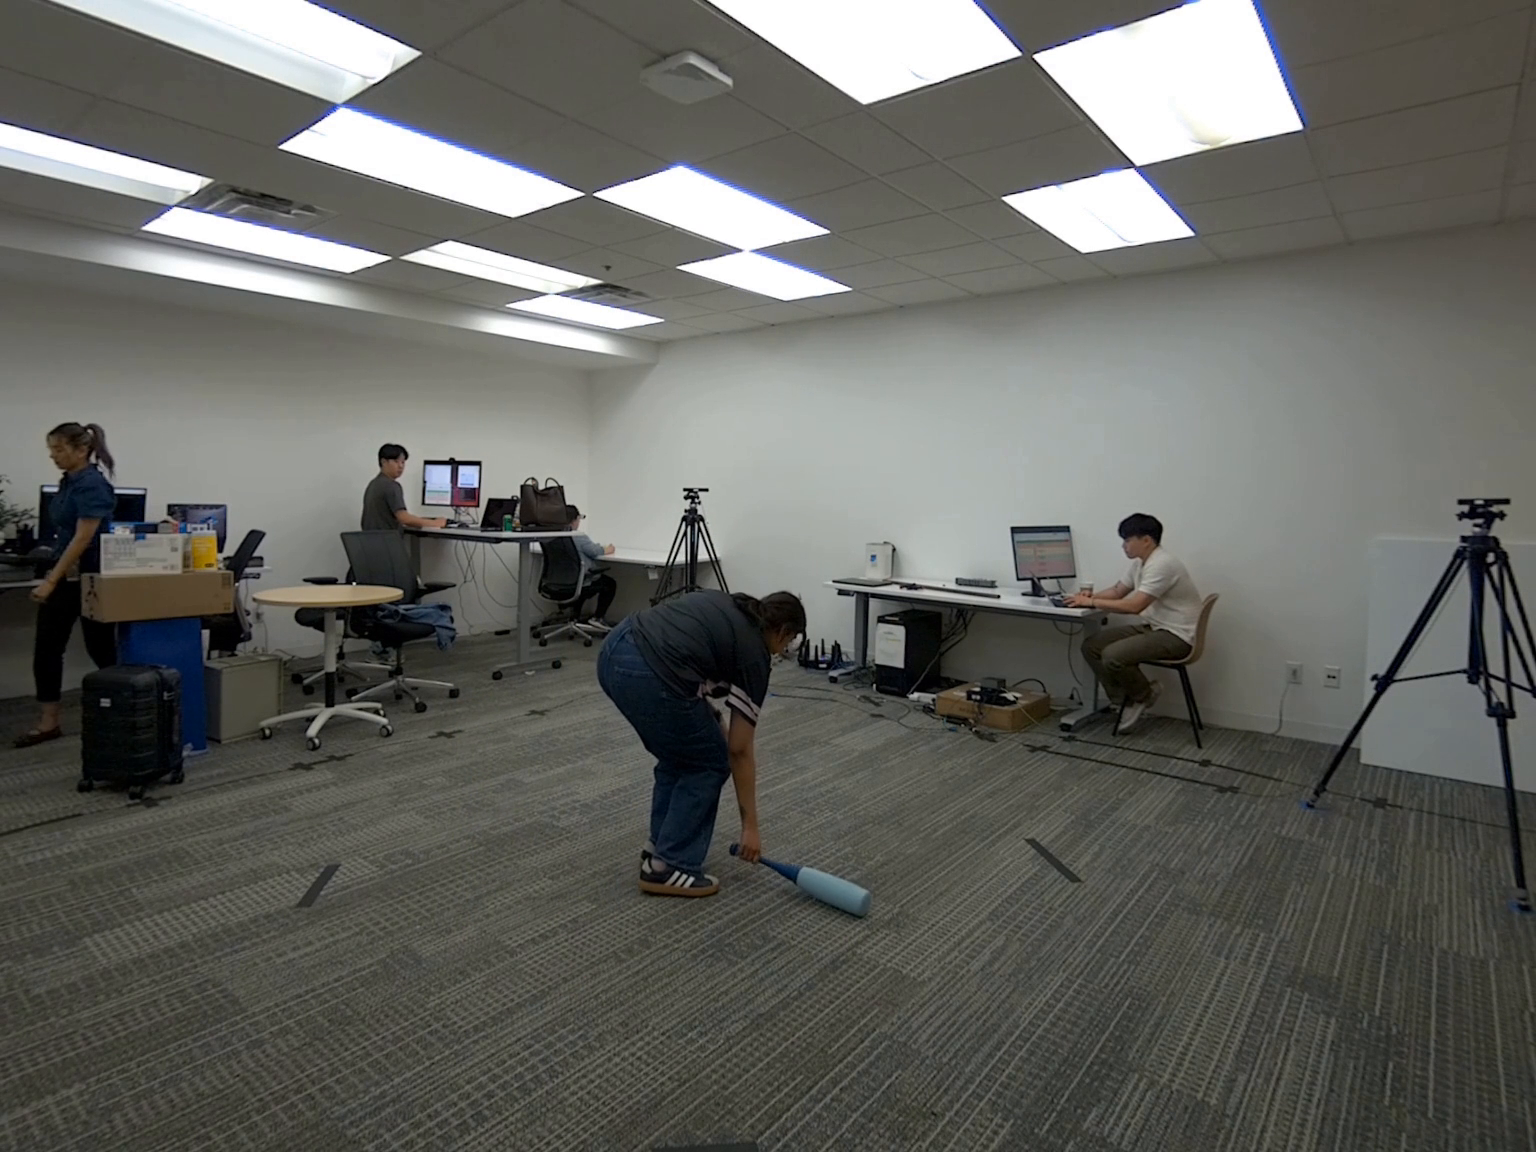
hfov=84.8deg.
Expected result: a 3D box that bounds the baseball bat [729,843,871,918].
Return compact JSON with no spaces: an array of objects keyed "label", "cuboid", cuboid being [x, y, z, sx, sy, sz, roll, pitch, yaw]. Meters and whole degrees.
[{"label":"baseball bat","cuboid":[0.094,1.029,2.935,0.562,0.088,0.086,10,8,34]}]
